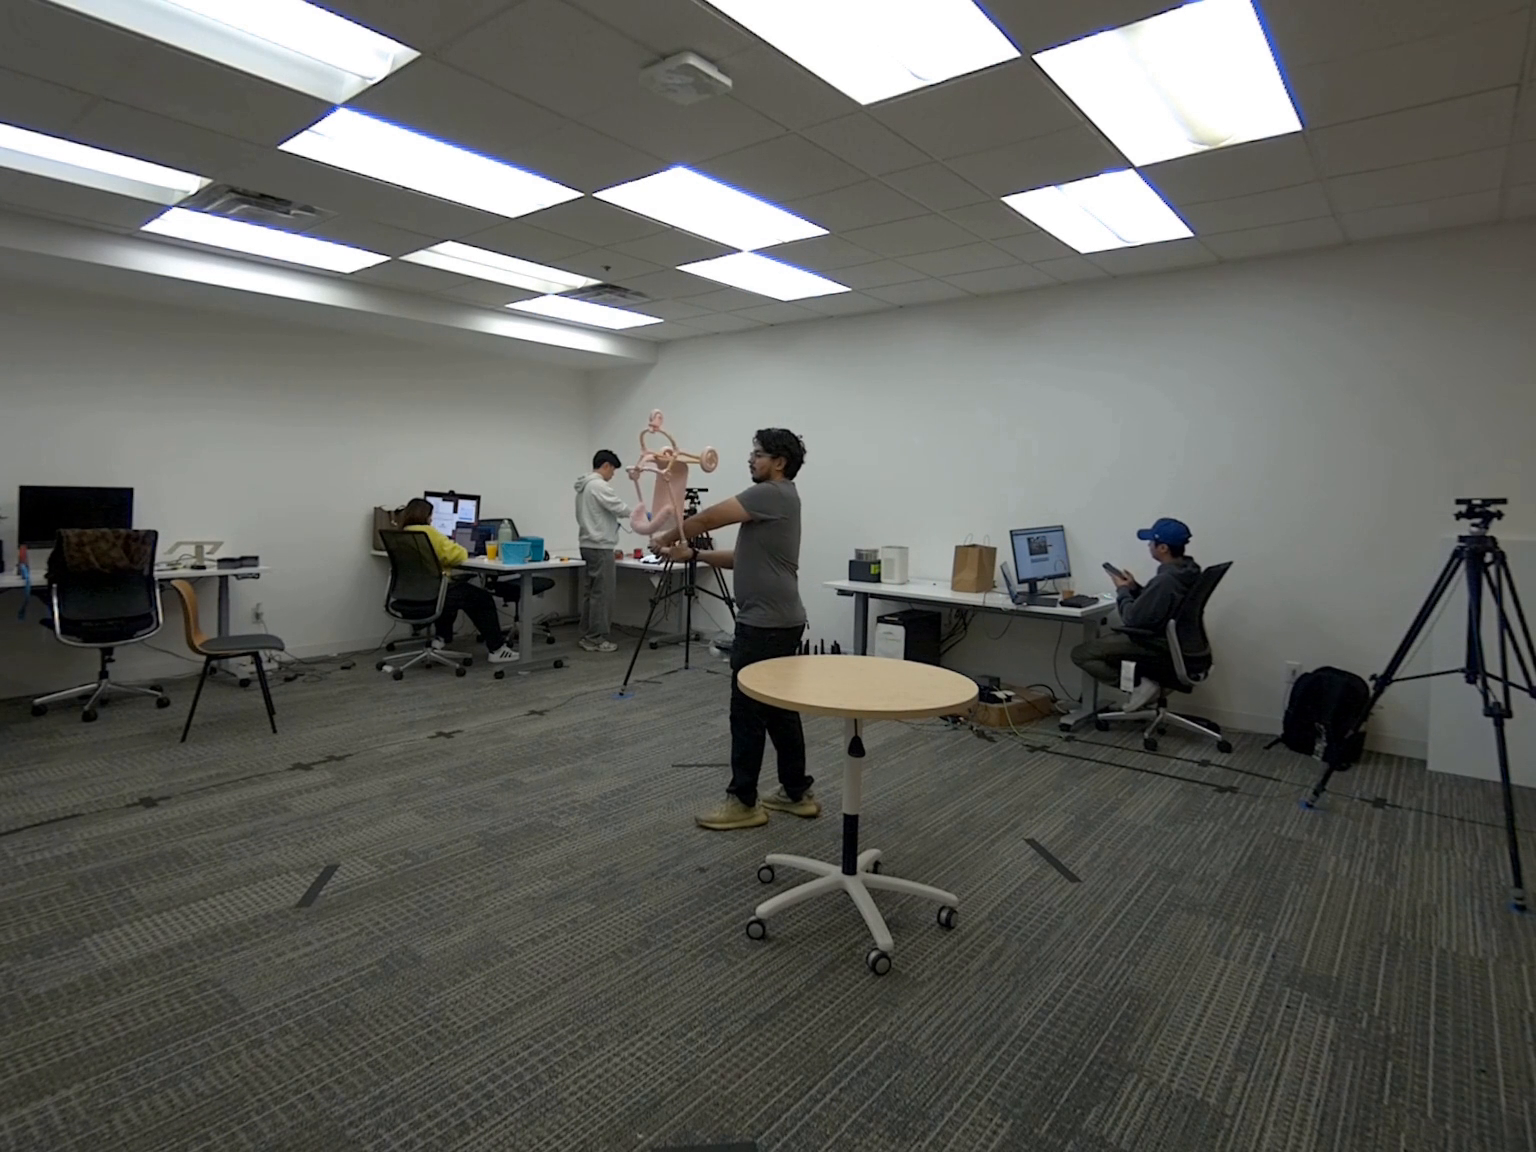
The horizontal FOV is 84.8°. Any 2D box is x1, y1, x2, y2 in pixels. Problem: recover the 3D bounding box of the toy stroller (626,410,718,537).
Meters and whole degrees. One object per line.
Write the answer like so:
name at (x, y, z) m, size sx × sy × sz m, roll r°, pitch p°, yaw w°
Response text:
toy stroller at (-0.453, -0.395, 3.552) m, size 0.291 × 0.539 × 0.327 m, roll 8°, pitch -13°, yaw 35°
